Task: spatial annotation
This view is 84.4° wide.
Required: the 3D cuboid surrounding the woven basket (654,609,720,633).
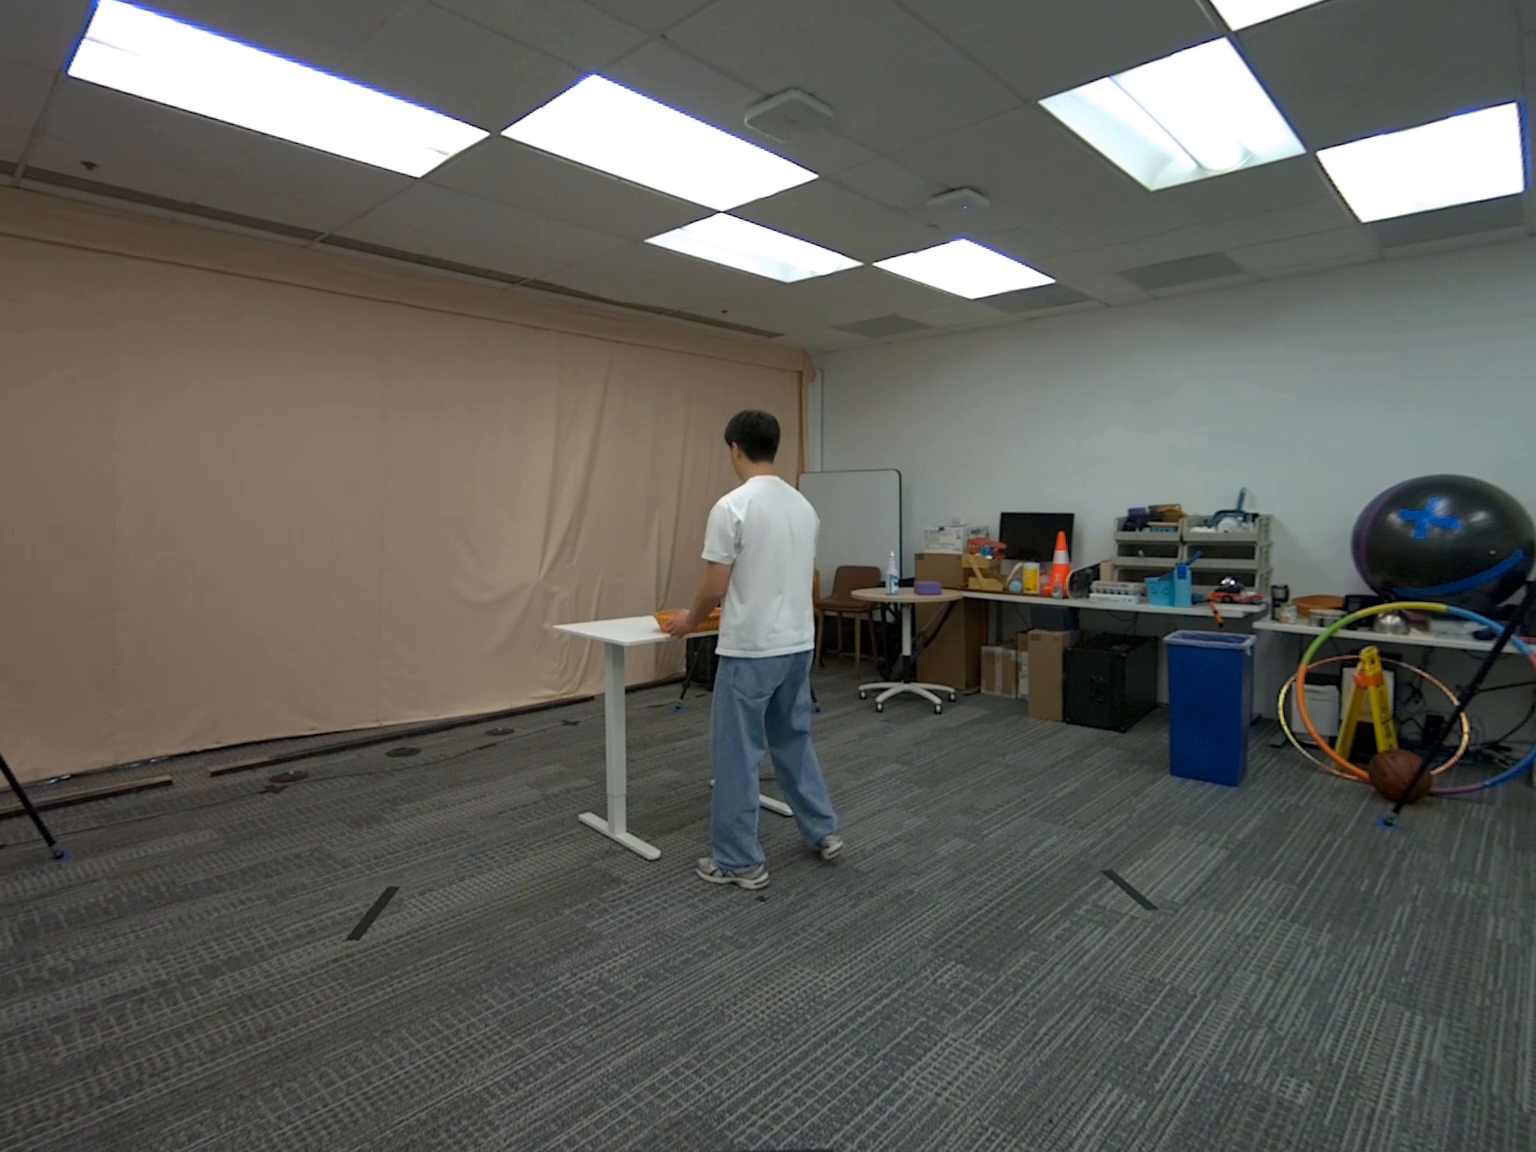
[{"bbox_3d":[-0.314,0.189,3.497,0.340,0.073,0.260,-5,5,-37],"label":"woven basket"}]
